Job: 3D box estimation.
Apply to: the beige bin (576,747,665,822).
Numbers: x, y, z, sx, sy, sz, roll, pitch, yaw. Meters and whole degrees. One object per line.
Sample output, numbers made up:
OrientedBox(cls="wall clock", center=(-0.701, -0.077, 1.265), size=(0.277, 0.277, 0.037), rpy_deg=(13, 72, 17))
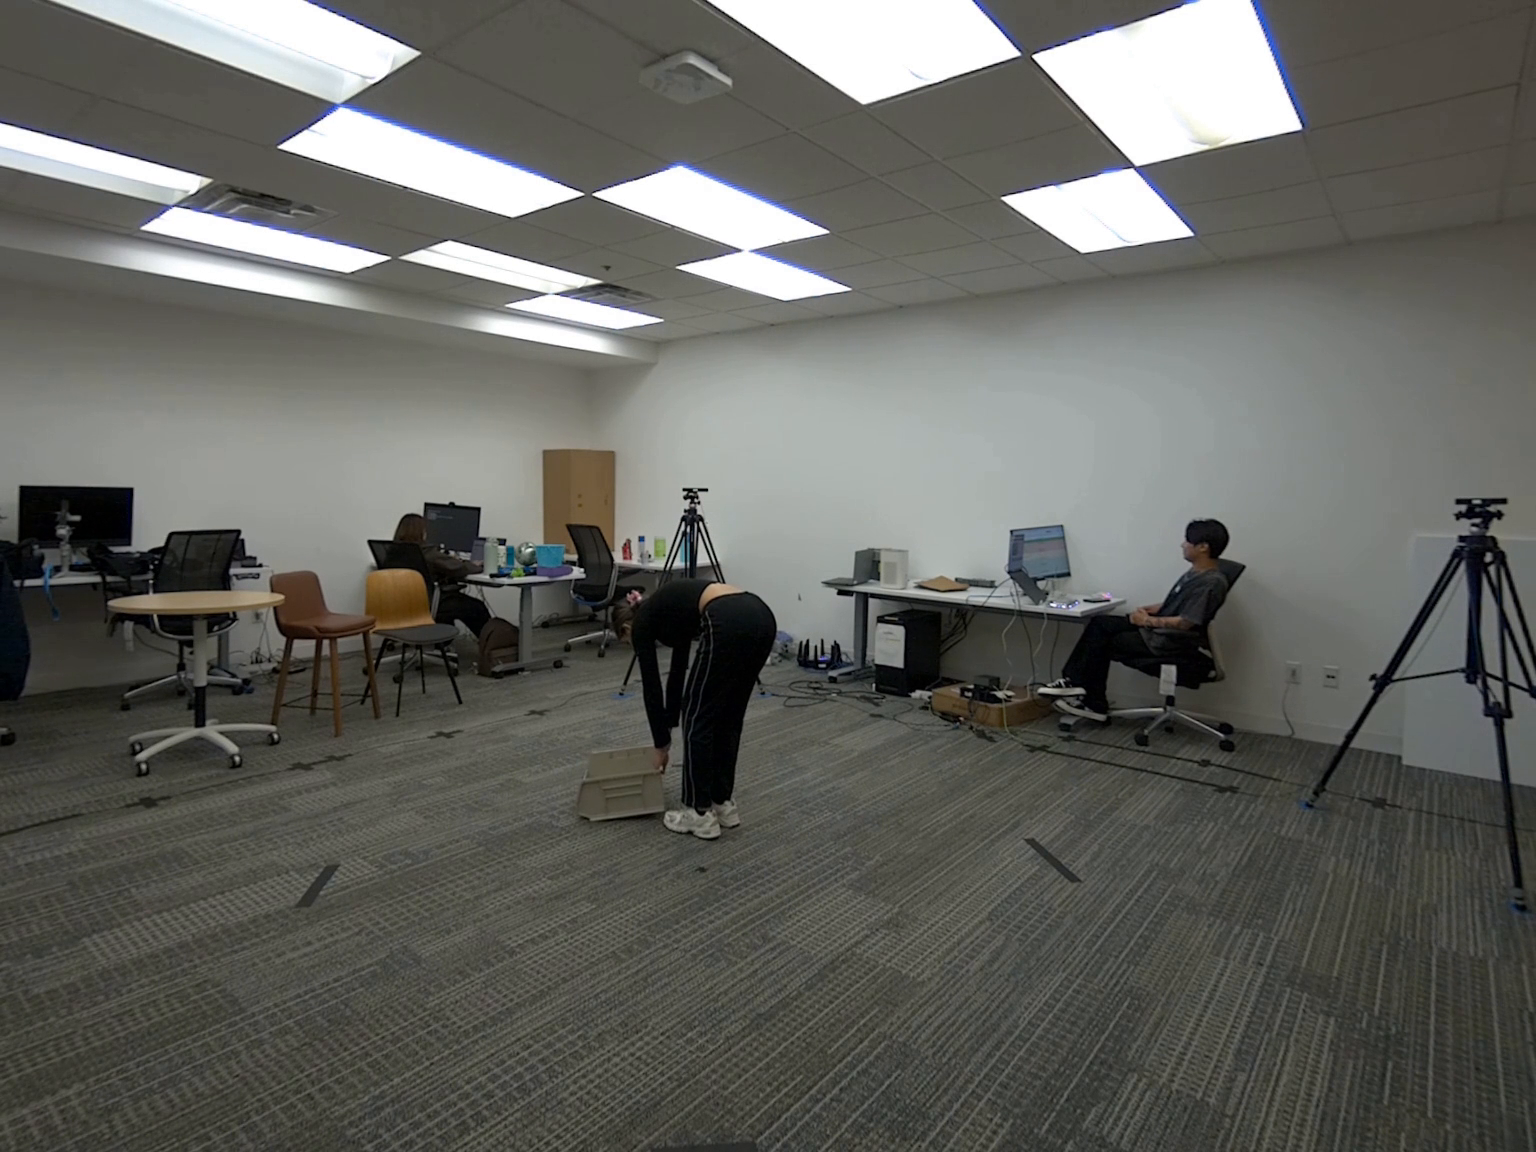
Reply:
OrientedBox(cls="beige bin", center=(-0.650, 0.900, 3.748), size=(0.375, 0.188, 0.426), rpy_deg=(-6, 4, -6))
